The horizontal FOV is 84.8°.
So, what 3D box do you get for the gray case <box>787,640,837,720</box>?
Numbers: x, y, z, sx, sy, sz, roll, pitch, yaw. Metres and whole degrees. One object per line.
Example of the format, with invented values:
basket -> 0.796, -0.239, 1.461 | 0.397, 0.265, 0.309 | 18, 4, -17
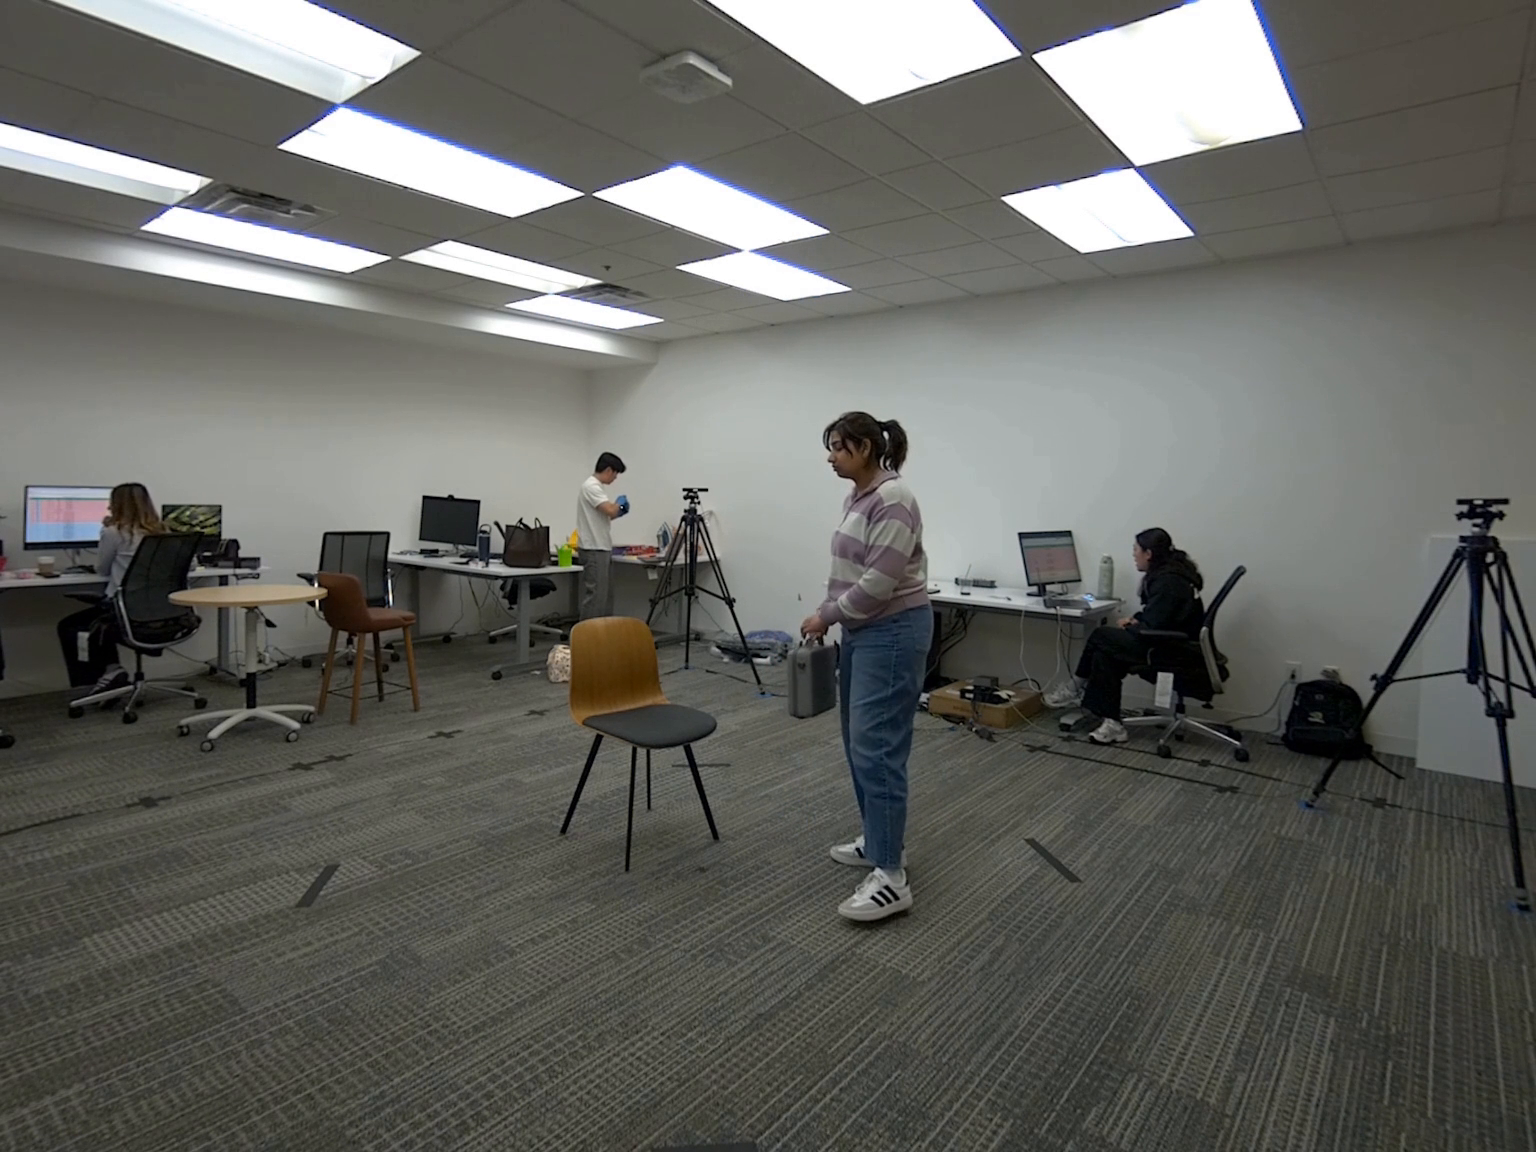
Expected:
gray case -> 0.162, 0.386, 3.208 | 0.107, 0.260, 0.250 | -2, 2, 28
